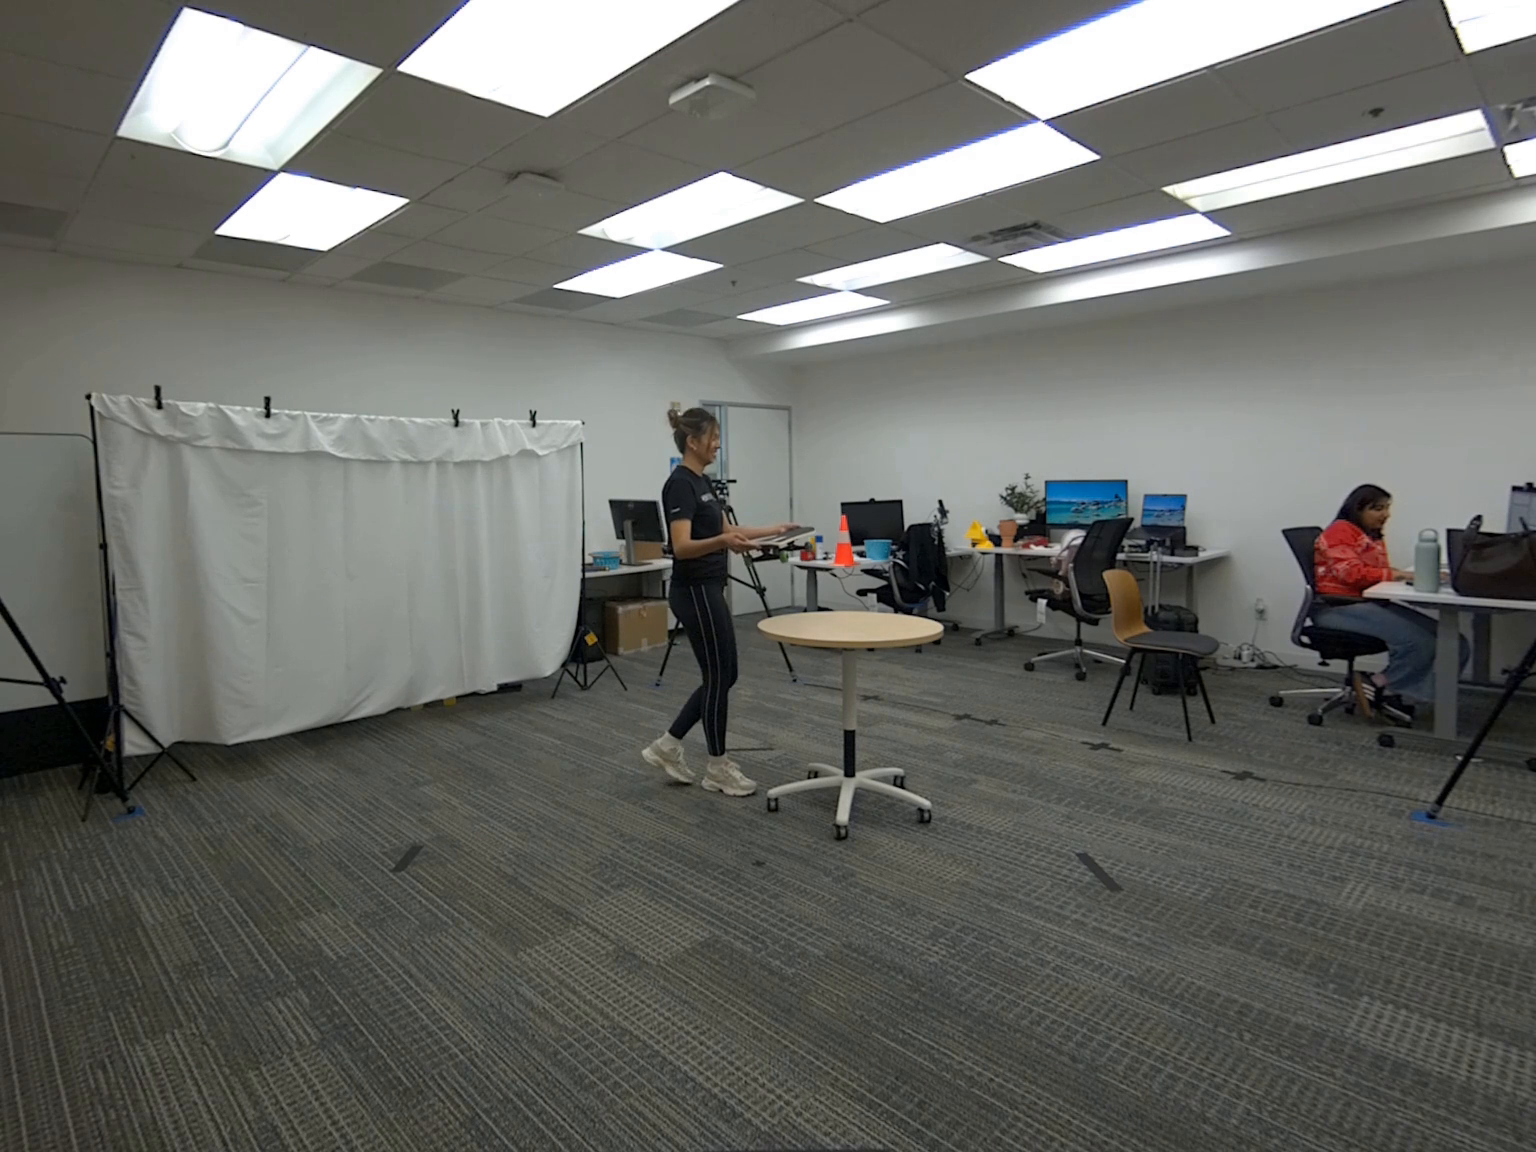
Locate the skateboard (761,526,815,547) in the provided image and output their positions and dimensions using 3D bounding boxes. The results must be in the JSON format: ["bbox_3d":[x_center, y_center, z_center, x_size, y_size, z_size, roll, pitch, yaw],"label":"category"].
[{"bbox_3d":[0.031,-0.129,3.722,0.197,0.110,0.776,-3,7,18],"label":"skateboard"}]
